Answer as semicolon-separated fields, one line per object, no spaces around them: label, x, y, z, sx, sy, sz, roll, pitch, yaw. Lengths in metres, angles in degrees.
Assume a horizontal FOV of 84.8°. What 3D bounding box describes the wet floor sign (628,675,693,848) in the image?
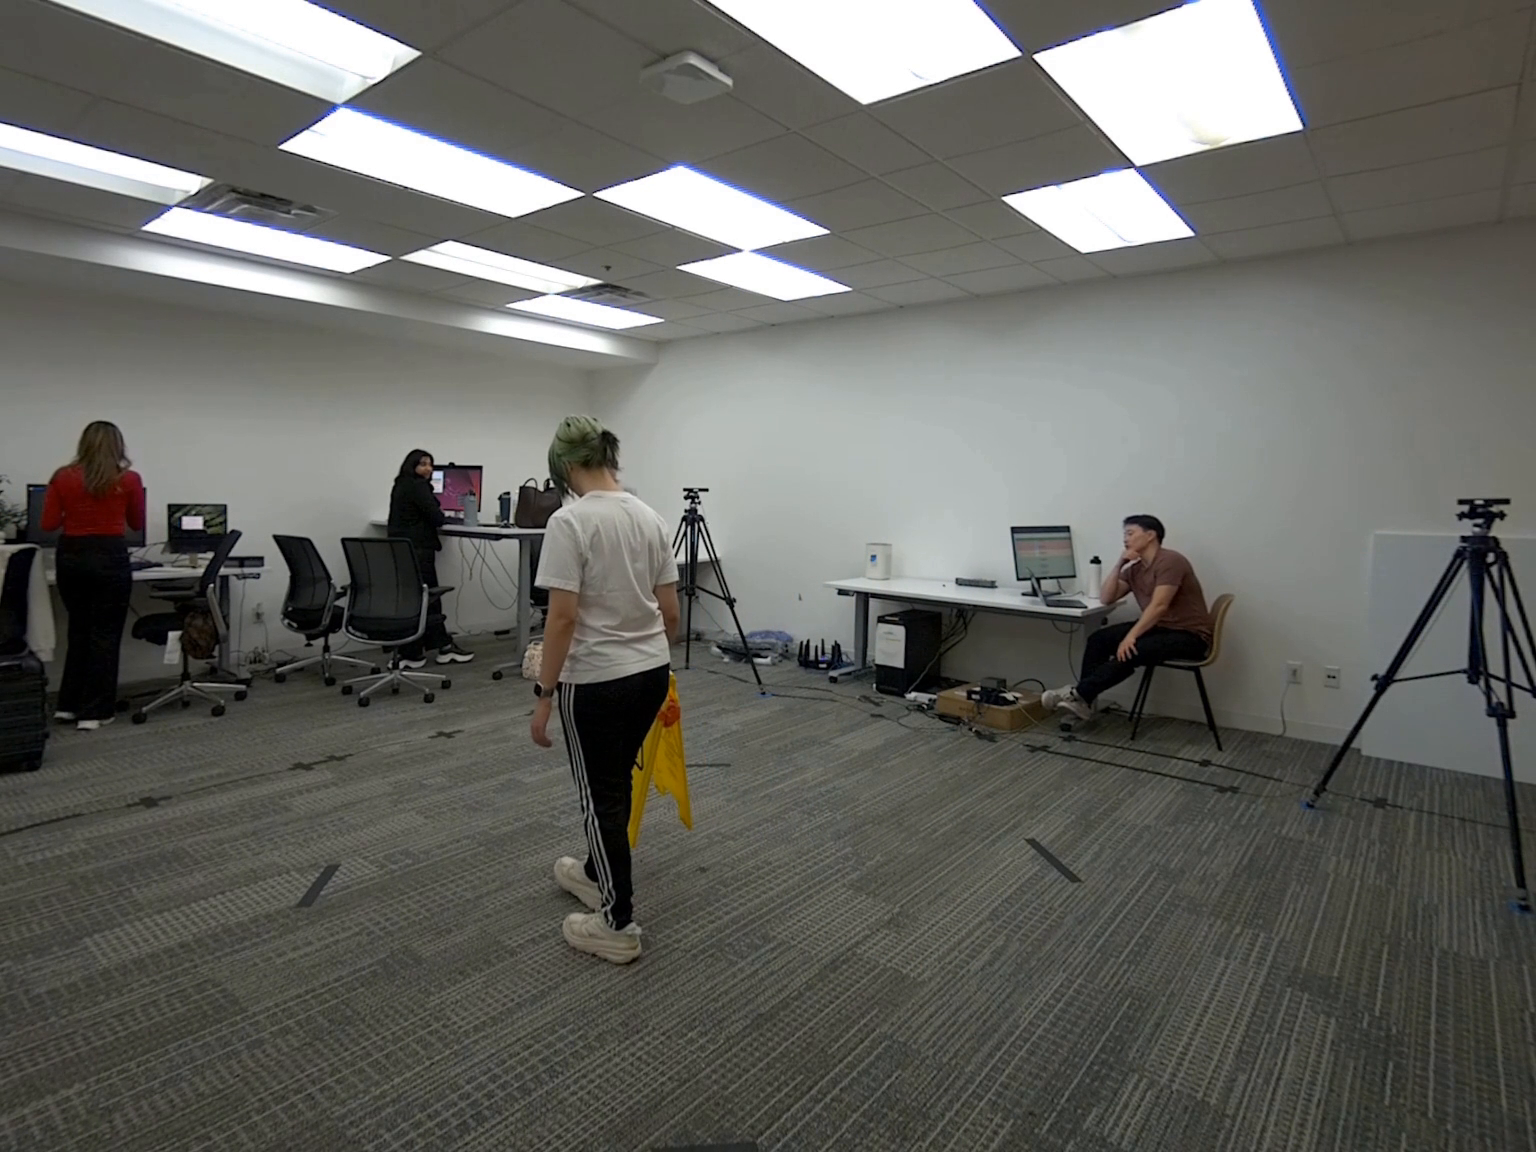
wet floor sign;-0.425;0.584;2.999;0.282;0.637;0.294;-5;23;-35
